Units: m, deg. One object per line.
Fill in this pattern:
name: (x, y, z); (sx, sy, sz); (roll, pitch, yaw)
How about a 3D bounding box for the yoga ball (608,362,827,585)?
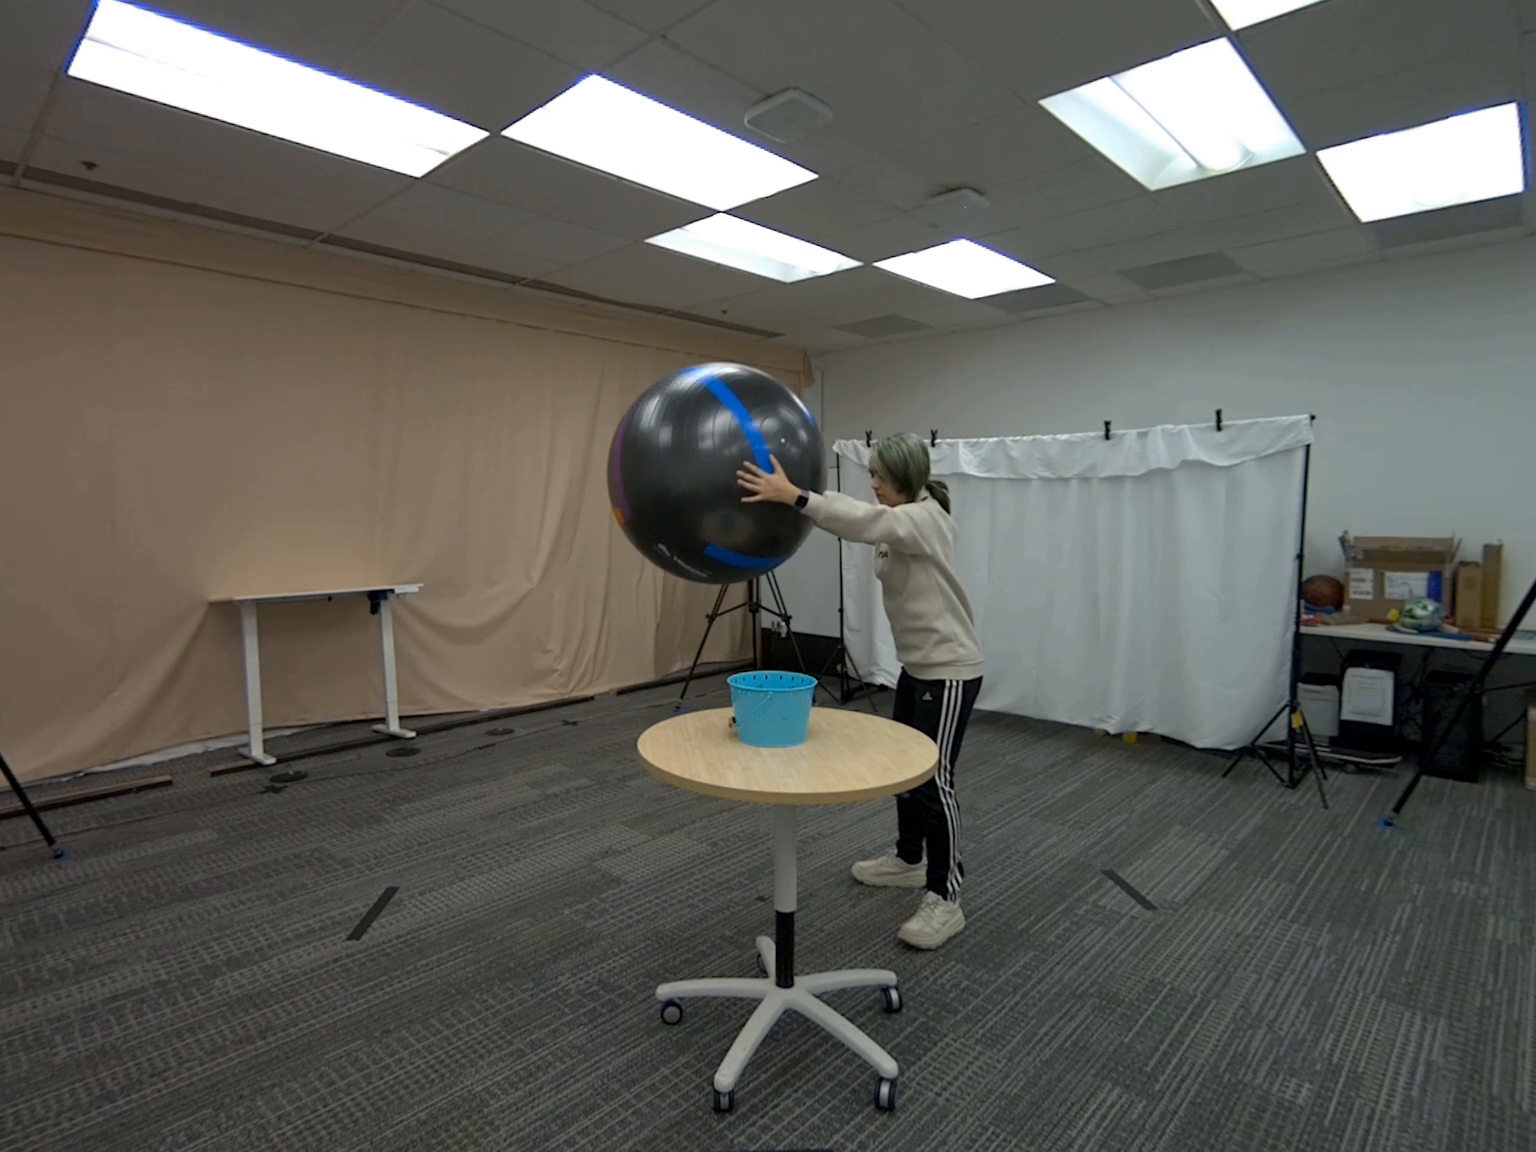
yoga ball: (-0.168, -0.342, 2.914); (0.757, 0.756, 0.761); (0, 4, -2)
